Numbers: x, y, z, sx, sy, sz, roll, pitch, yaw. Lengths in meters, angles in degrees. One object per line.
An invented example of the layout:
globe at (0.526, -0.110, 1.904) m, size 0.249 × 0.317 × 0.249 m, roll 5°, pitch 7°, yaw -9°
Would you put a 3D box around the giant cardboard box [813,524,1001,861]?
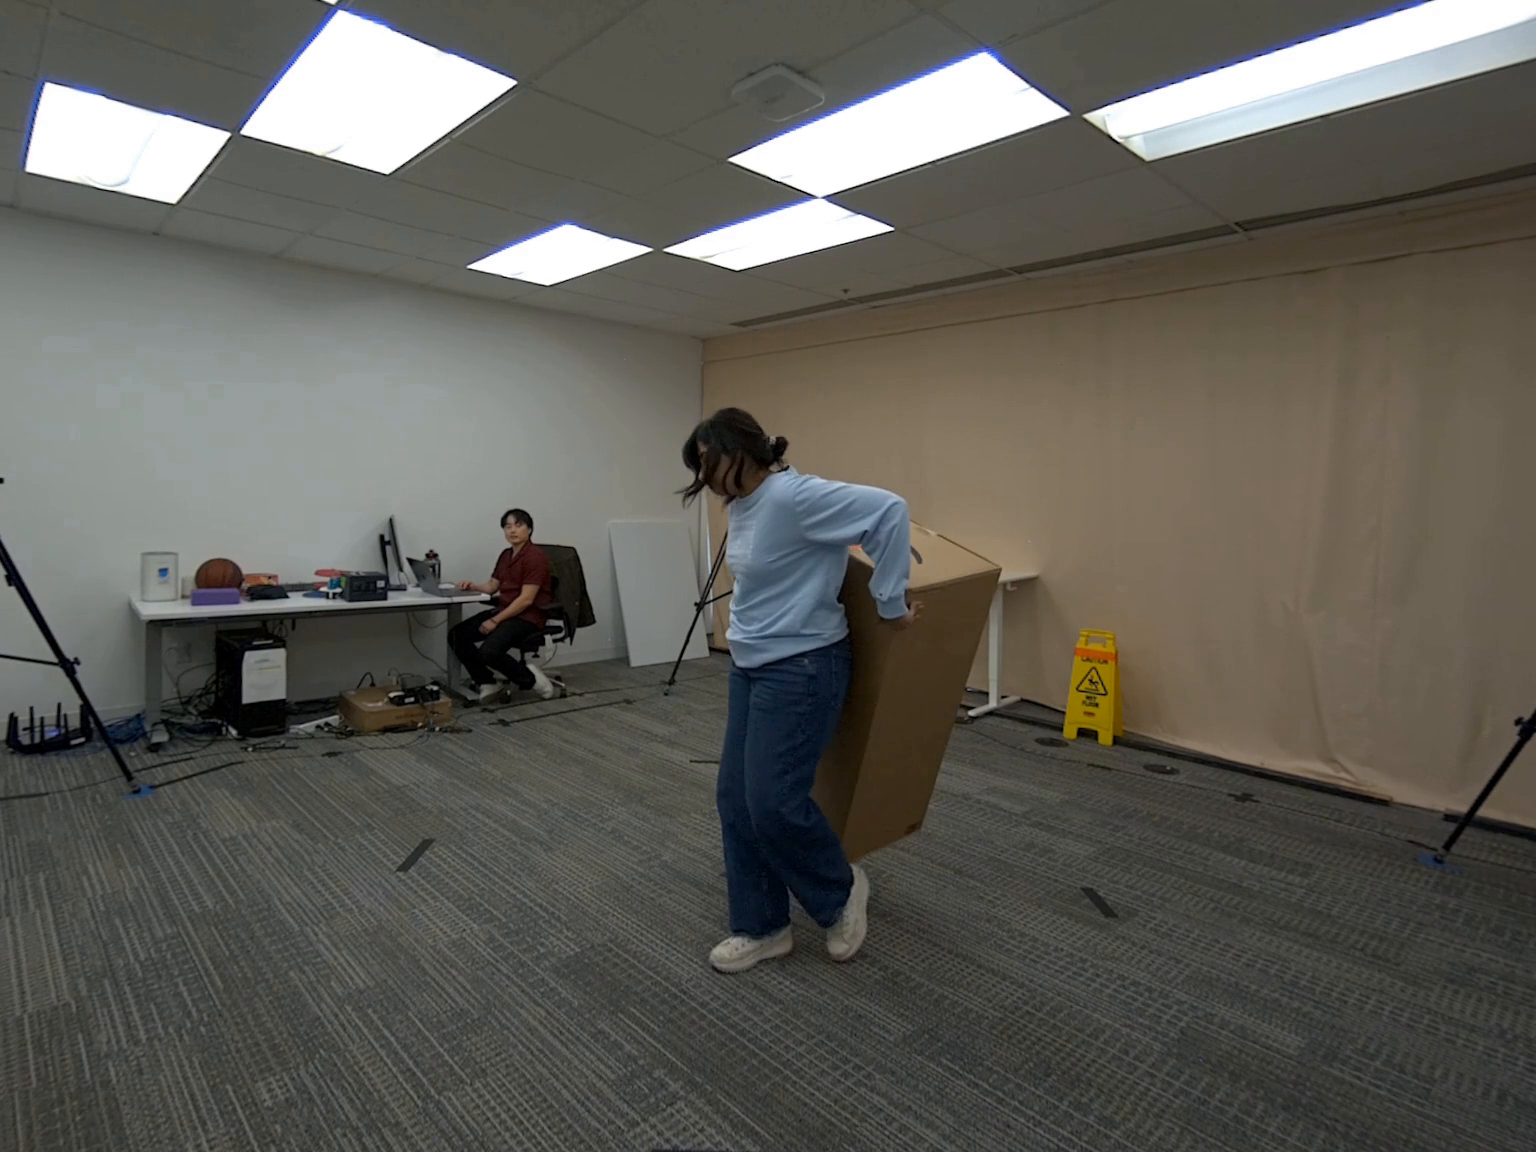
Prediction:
giant cardboard box at (0.284, 0.338, 2.801) m, size 0.418 × 1.012 × 0.596 m, roll -9°, pitch 30°, yaw -37°
